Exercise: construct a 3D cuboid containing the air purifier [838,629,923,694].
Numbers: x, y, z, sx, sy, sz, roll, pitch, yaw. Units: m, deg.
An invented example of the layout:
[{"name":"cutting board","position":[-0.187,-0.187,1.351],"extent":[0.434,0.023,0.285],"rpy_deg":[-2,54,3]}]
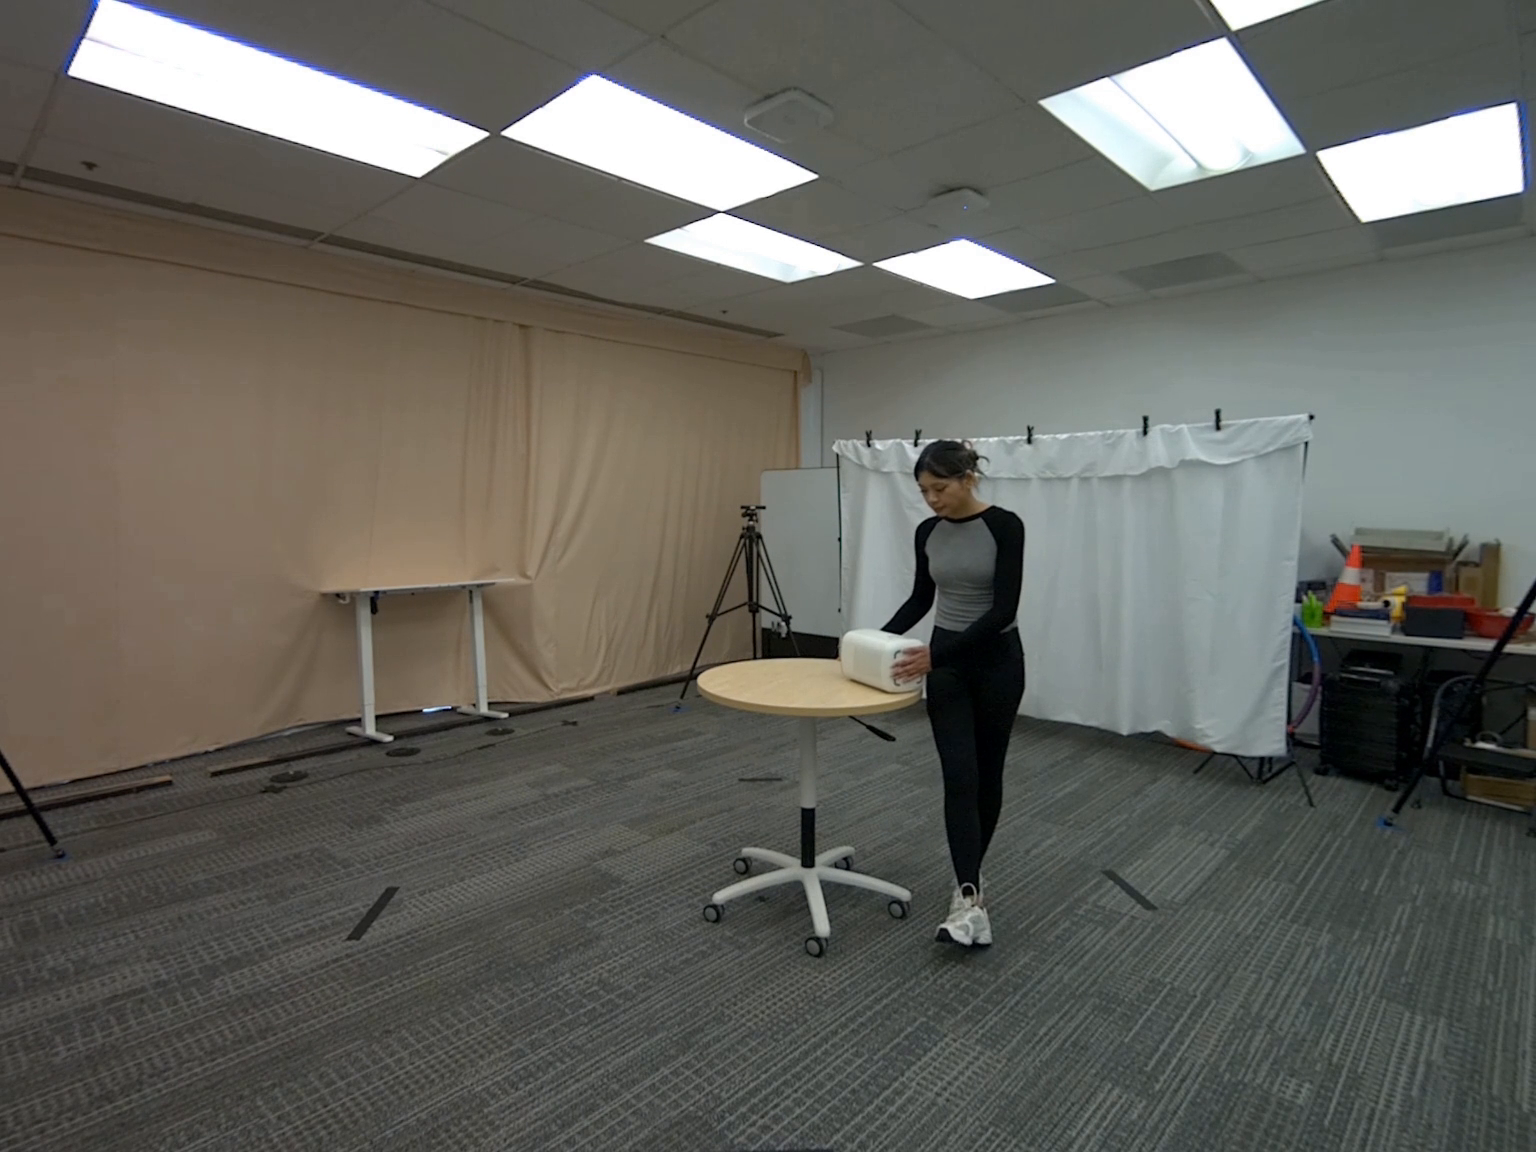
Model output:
[{"name":"air purifier","position":[0.388,0.282,2.804],"extent":[0.167,0.171,0.273],"rpy_deg":[-1,5,-27]}]
